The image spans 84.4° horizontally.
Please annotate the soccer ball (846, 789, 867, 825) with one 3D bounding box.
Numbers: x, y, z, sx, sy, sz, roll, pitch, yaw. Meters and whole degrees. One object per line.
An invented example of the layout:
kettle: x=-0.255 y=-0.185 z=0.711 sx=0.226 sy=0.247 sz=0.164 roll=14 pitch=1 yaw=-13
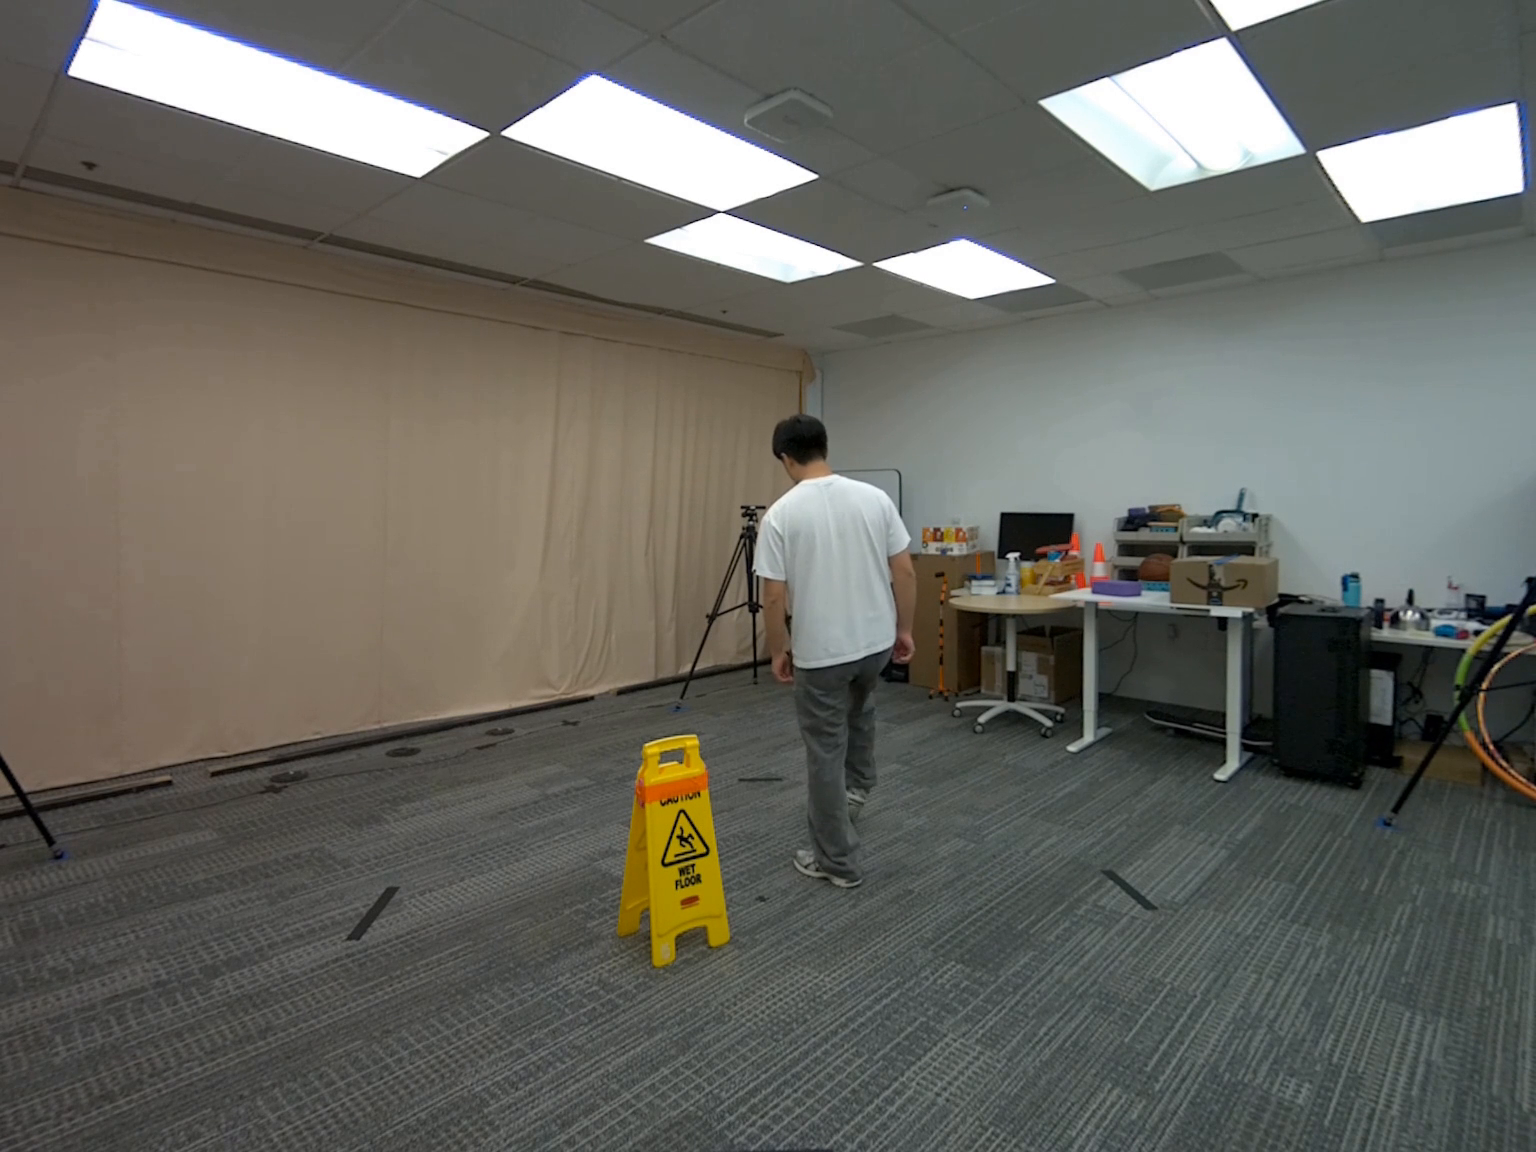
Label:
soccer ball: x=0.310 y=0.997 z=3.625 sx=0.187 sy=0.187 sz=0.188 roll=0 pitch=4 yaw=-2
